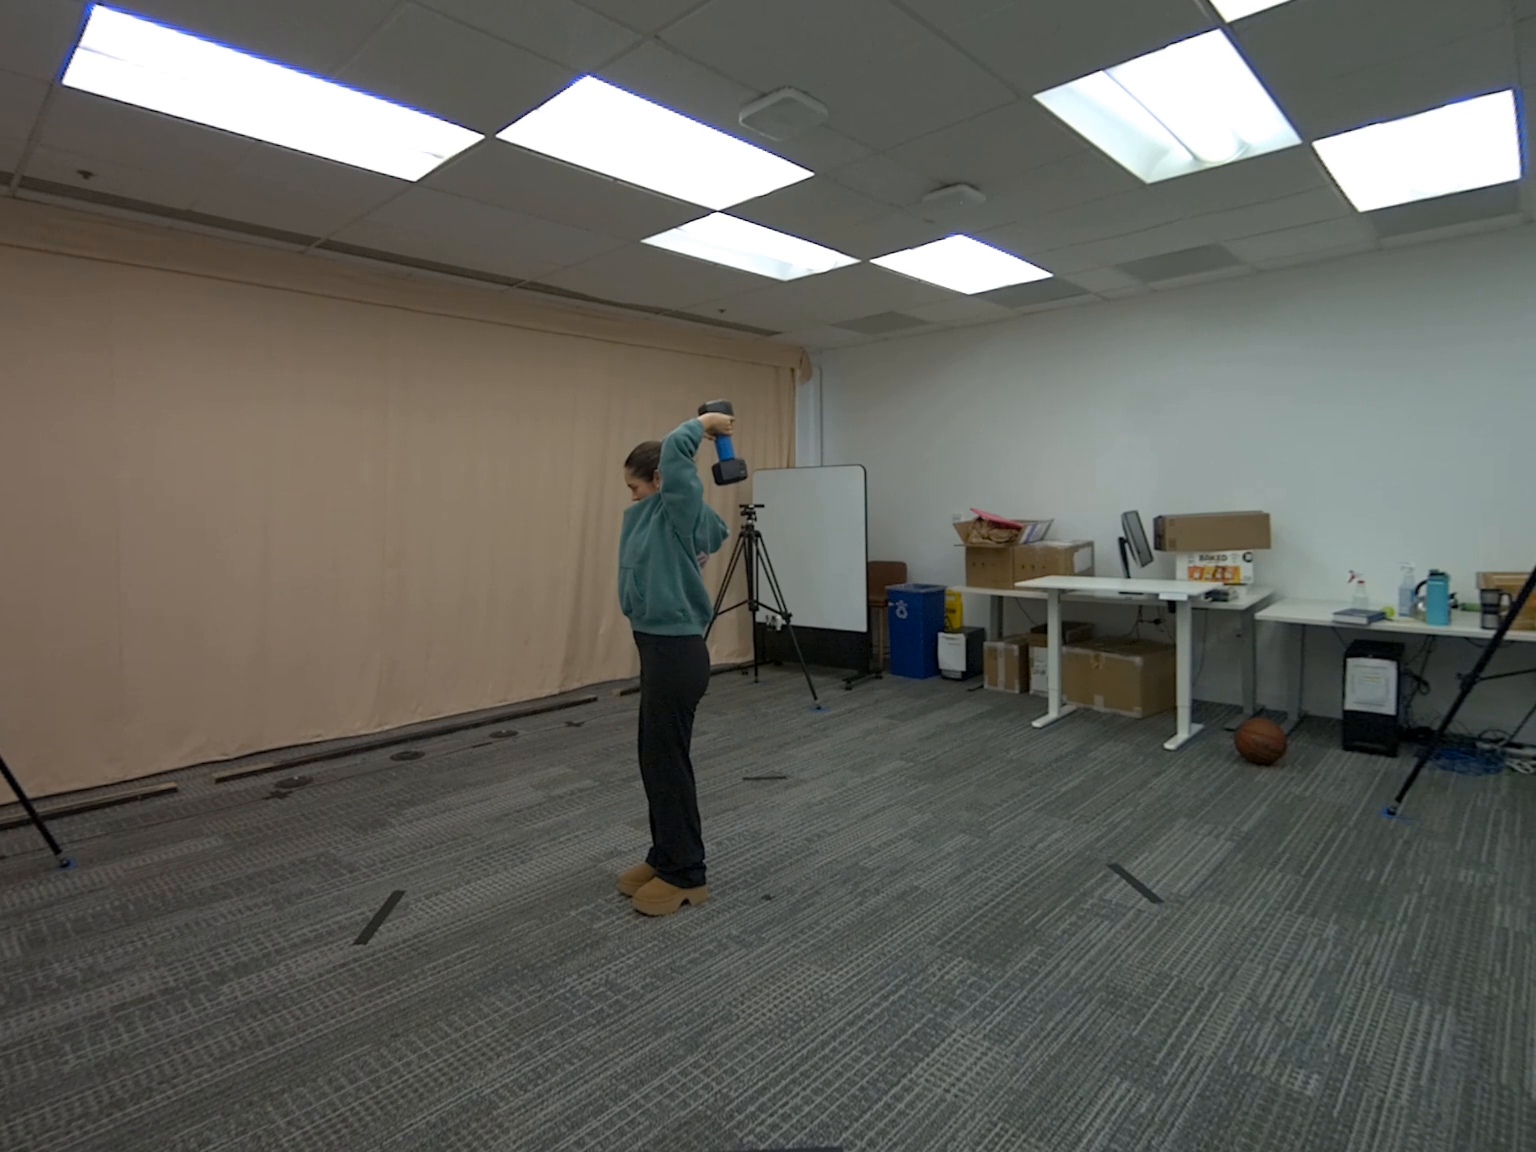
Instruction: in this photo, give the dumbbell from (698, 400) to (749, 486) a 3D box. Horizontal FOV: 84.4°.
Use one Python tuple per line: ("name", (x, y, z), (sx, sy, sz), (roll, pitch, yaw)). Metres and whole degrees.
("dumbbell", (-0.161, -0.477, 2.984), (0.122, 0.294, 0.109), (-13, -1, -6))
